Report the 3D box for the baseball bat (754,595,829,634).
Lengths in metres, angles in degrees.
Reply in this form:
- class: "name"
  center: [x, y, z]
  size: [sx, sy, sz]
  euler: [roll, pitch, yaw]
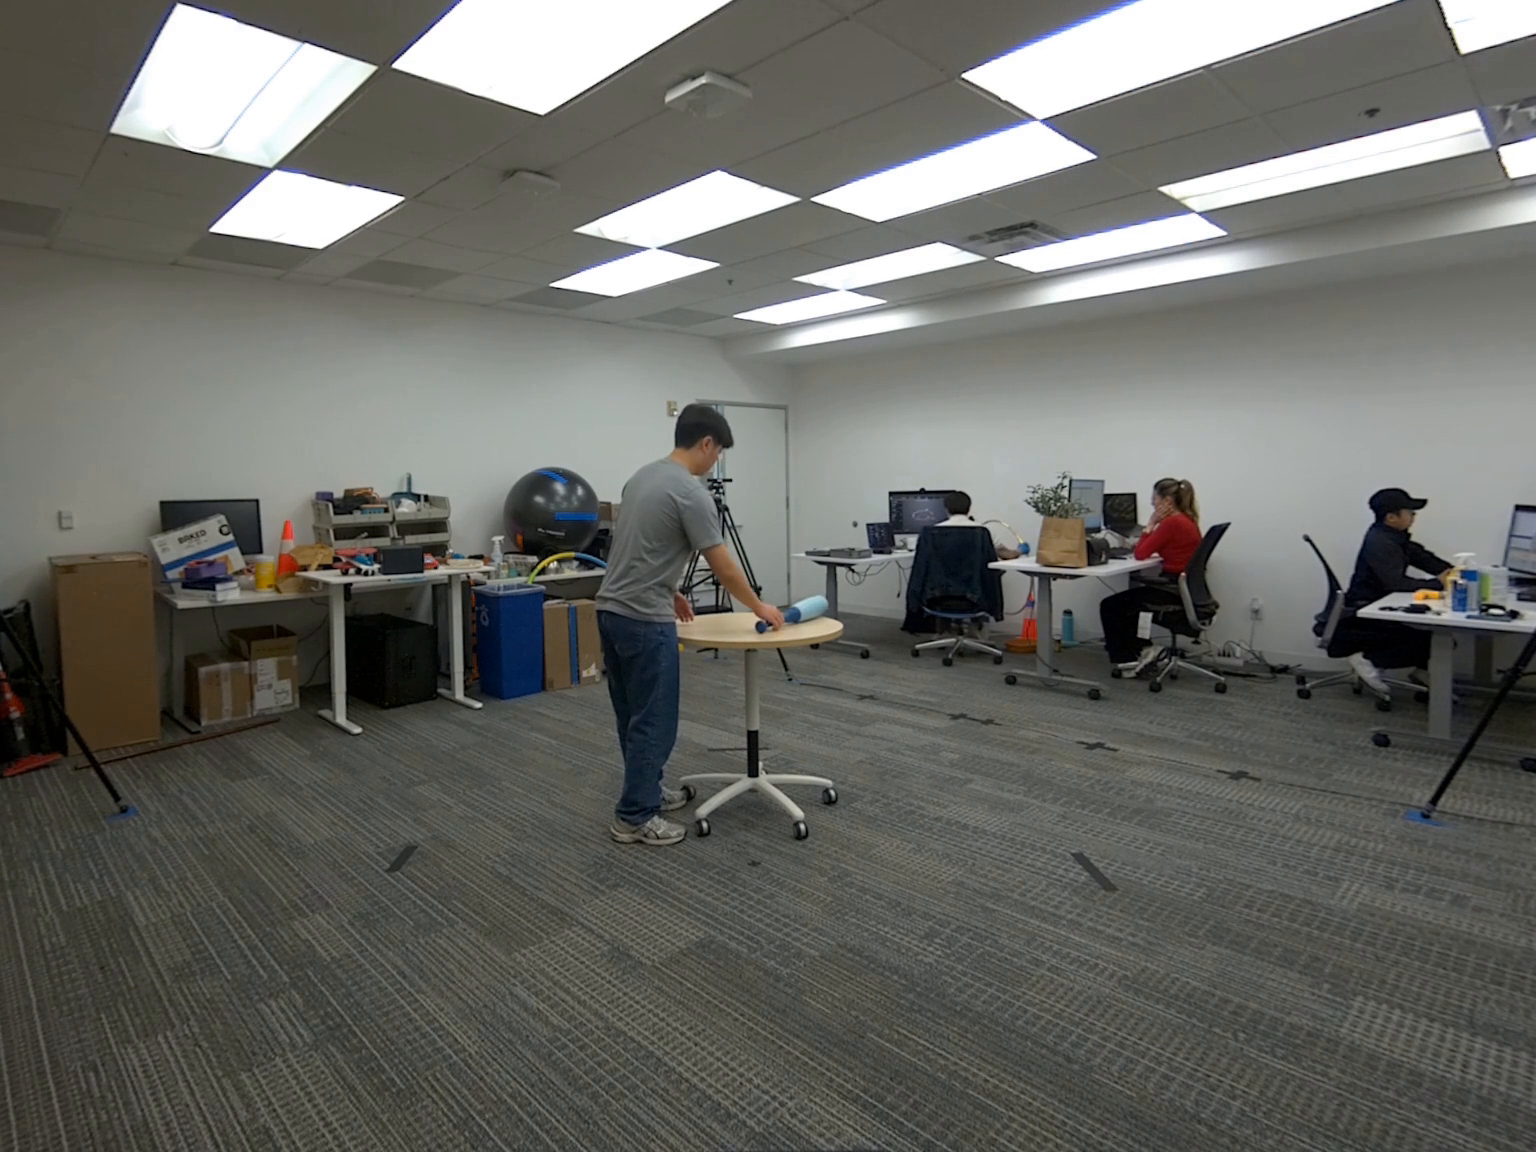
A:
- class: "baseball bat"
  center: [0.097, 0.171, 3.598]
  size: [0.091, 0.088, 0.532]
  euler: [2, 10, 31]
